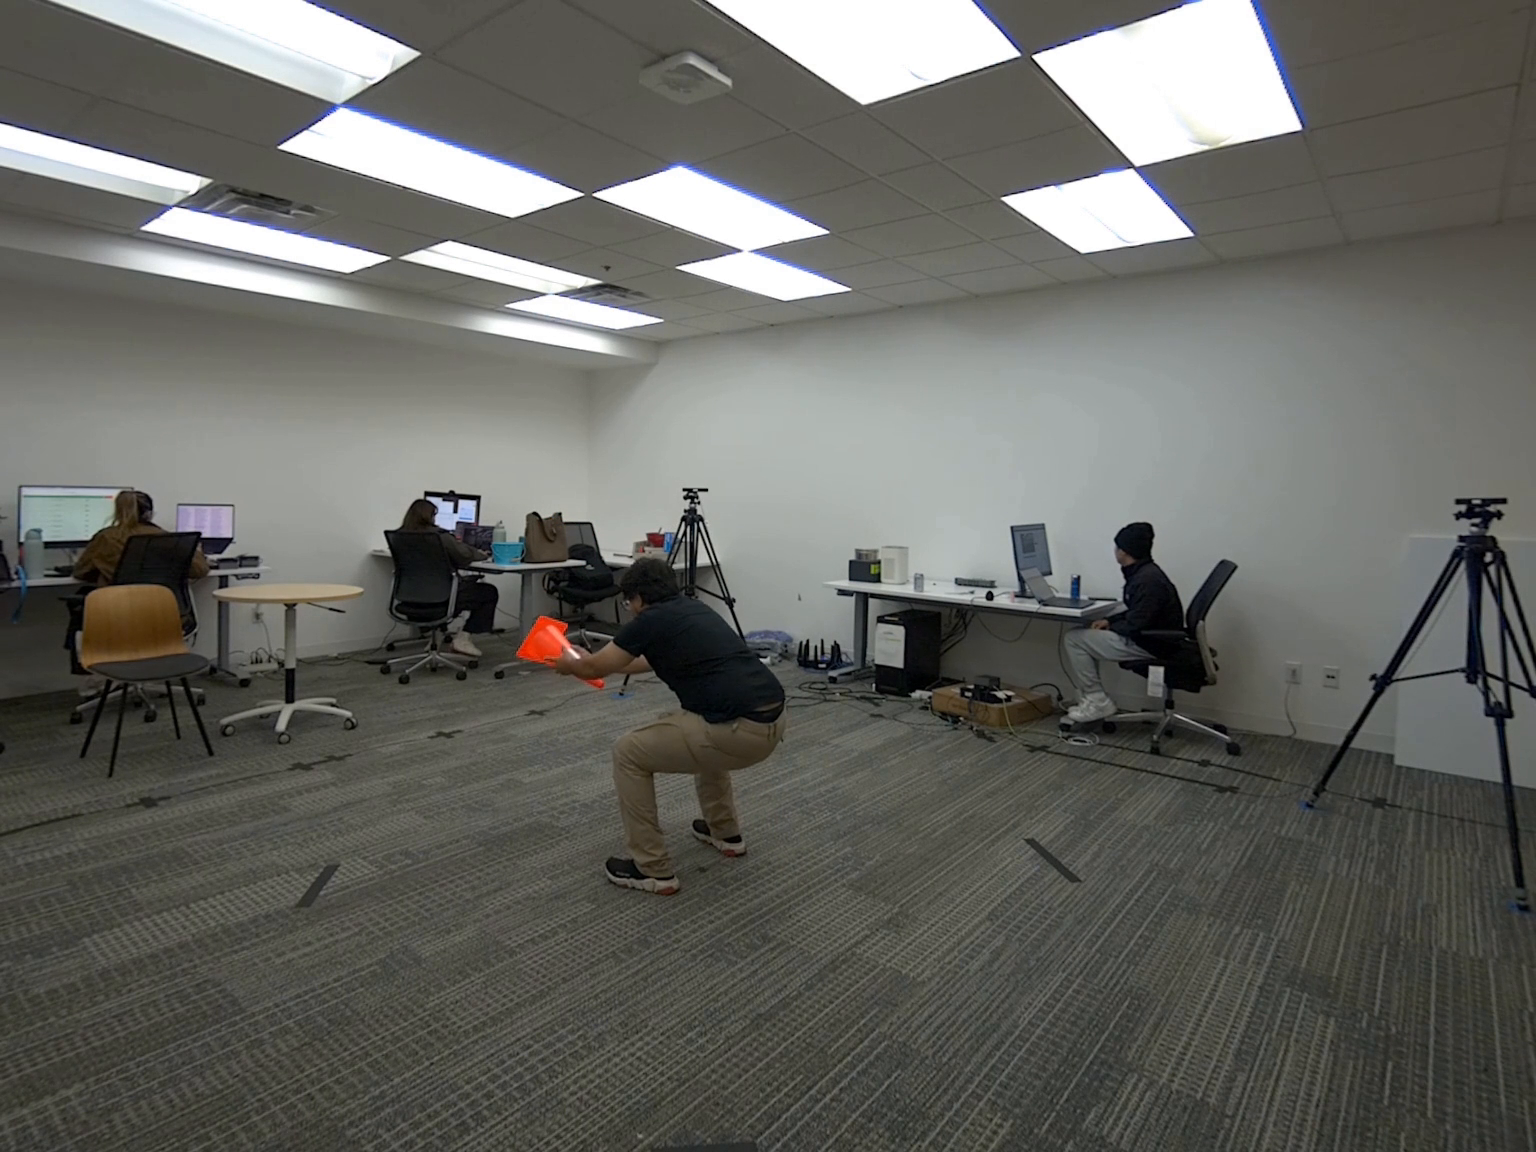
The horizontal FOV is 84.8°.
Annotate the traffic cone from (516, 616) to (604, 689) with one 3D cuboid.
[{"bbox_3d":[-0.830,0.344,3.521,0.398,0.203,0.197,28,-4,31],"label":"traffic cone"}]
